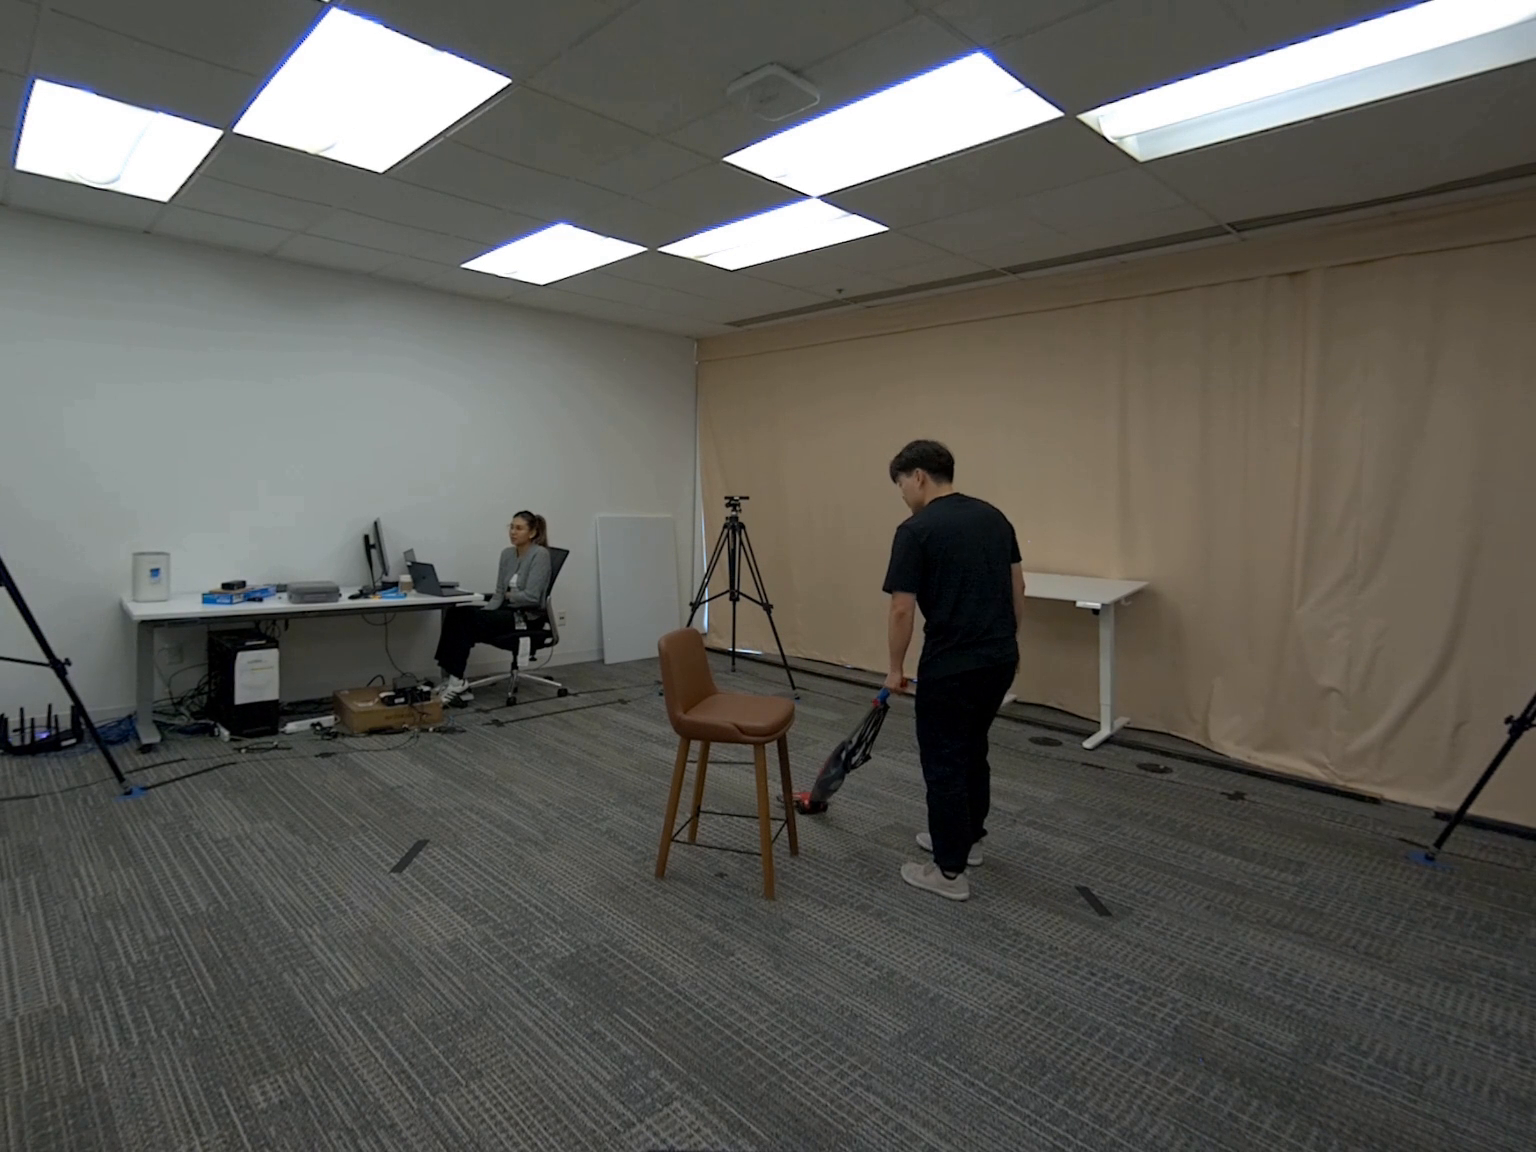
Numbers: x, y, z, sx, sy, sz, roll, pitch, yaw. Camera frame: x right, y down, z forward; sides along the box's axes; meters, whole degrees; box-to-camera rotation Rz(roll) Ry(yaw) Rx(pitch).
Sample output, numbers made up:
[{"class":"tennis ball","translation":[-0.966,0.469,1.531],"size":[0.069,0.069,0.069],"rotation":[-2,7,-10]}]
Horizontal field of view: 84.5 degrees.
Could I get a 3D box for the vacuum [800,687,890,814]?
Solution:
[{"class":"vacuum","translation":[0.328,0.715,3.444],"size":[0.248,0.148,1.039],"rotation":[2,-39,-21]}]
